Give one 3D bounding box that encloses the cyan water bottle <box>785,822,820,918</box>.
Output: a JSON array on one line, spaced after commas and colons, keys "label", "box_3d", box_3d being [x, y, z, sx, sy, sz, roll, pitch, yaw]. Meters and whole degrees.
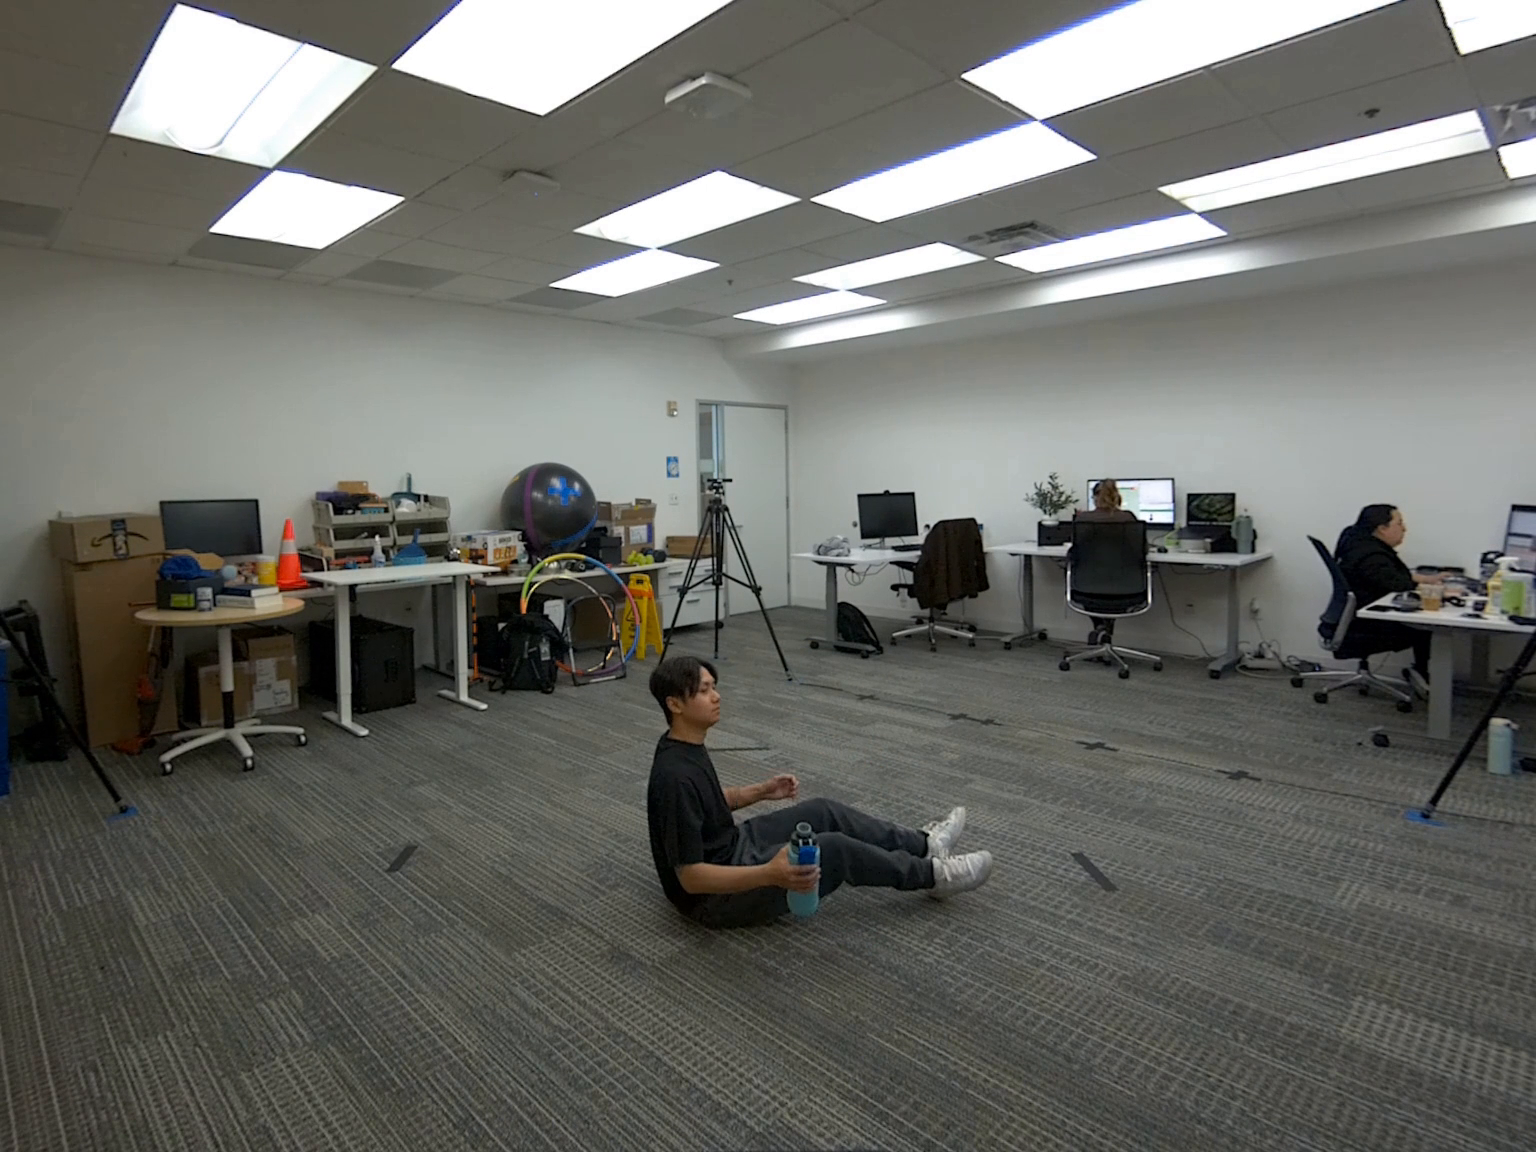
[{"label": "cyan water bottle", "box_3d": [0.111, 0.839, 2.436, 0.092, 0.278, 0.094, 1, 24, -2]}]
